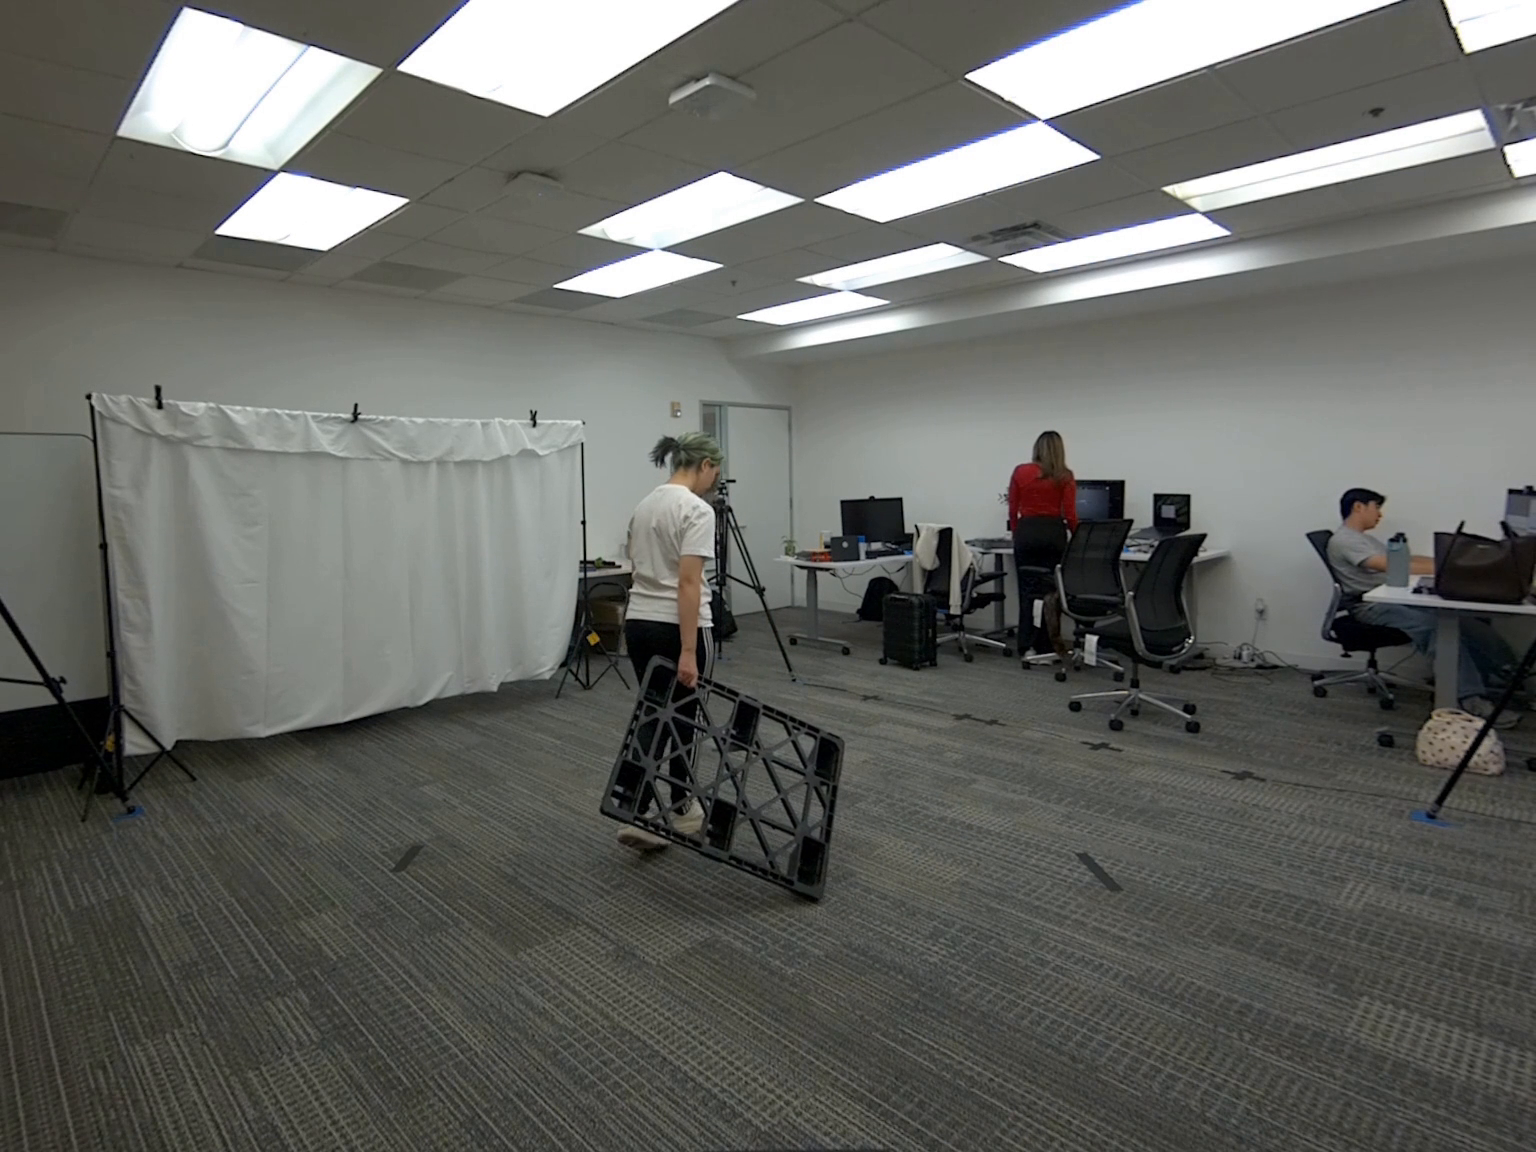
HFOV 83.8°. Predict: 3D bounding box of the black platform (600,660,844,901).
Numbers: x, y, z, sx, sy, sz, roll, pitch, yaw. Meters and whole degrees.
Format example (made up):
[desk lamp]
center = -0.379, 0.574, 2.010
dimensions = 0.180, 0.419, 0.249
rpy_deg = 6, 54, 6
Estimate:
[black platform]
center = -0.142, 0.703, 2.974
dimensions = 0.795, 0.616, 0.142
rpy_deg = 24, -40, -10
